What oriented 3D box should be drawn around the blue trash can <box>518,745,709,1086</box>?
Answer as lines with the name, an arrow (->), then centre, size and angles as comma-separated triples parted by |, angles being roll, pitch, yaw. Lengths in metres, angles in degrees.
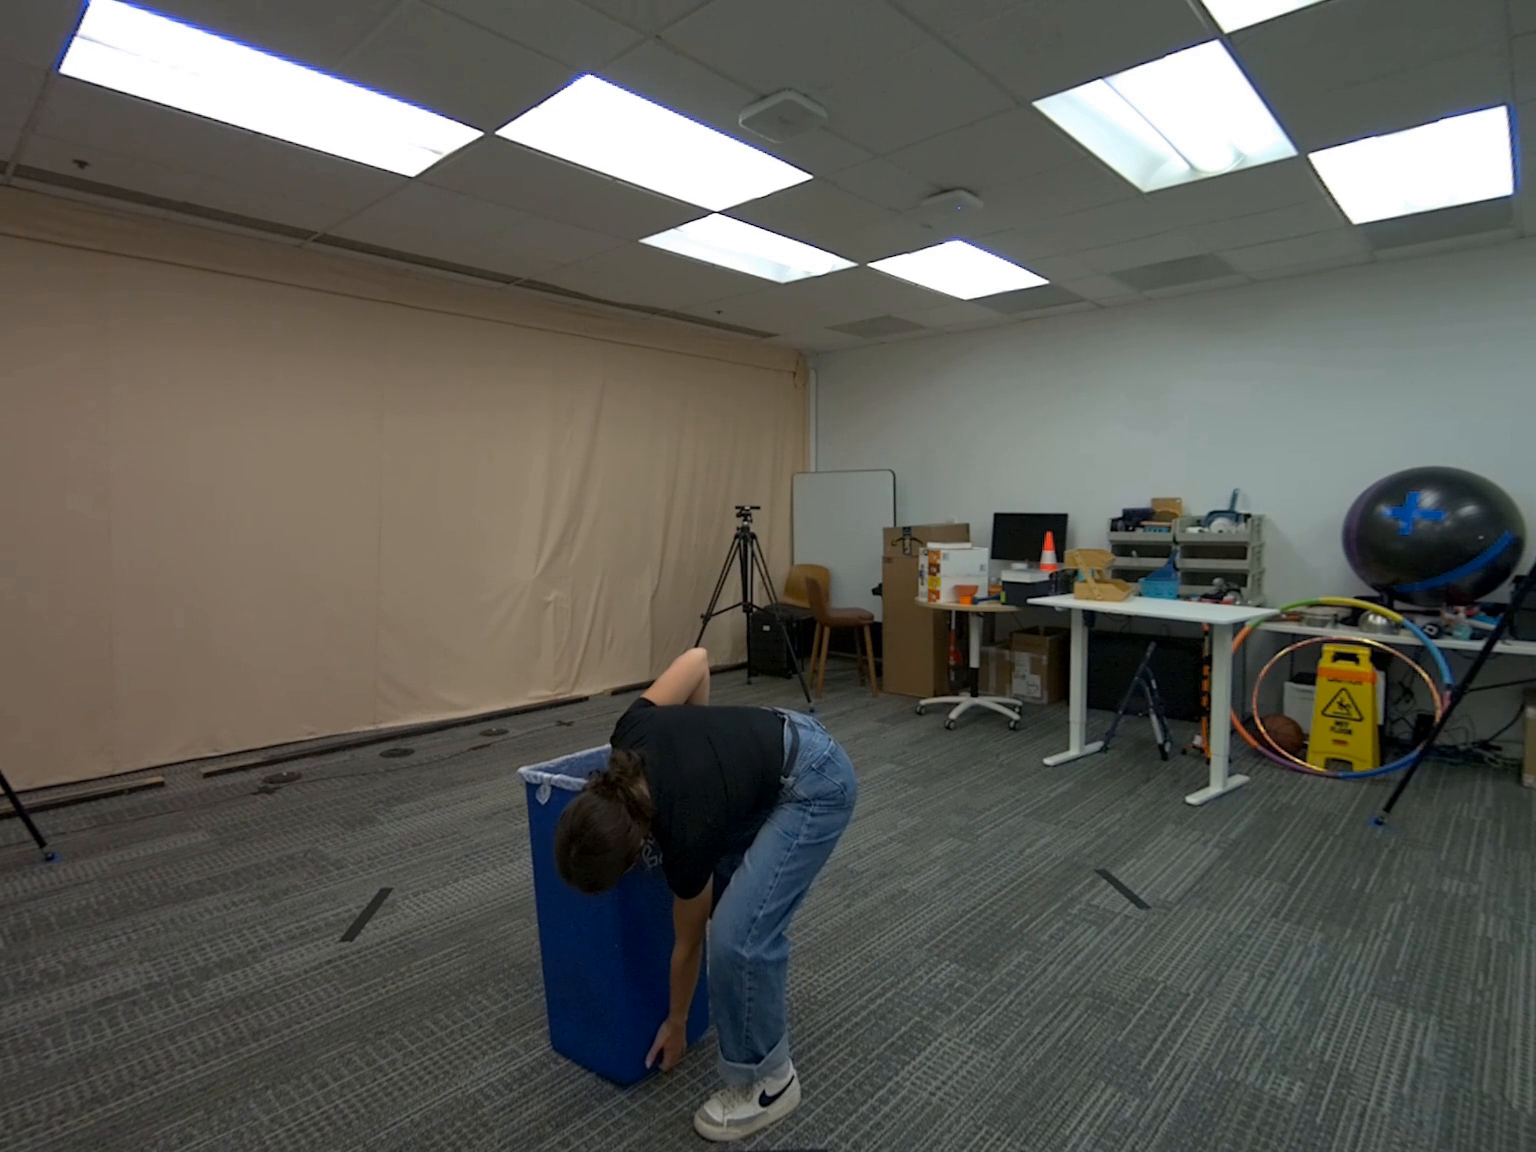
blue trash can -> -0.393, 0.847, 2.195 | 0.385, 0.714, 0.366 | -4, 0, 39
